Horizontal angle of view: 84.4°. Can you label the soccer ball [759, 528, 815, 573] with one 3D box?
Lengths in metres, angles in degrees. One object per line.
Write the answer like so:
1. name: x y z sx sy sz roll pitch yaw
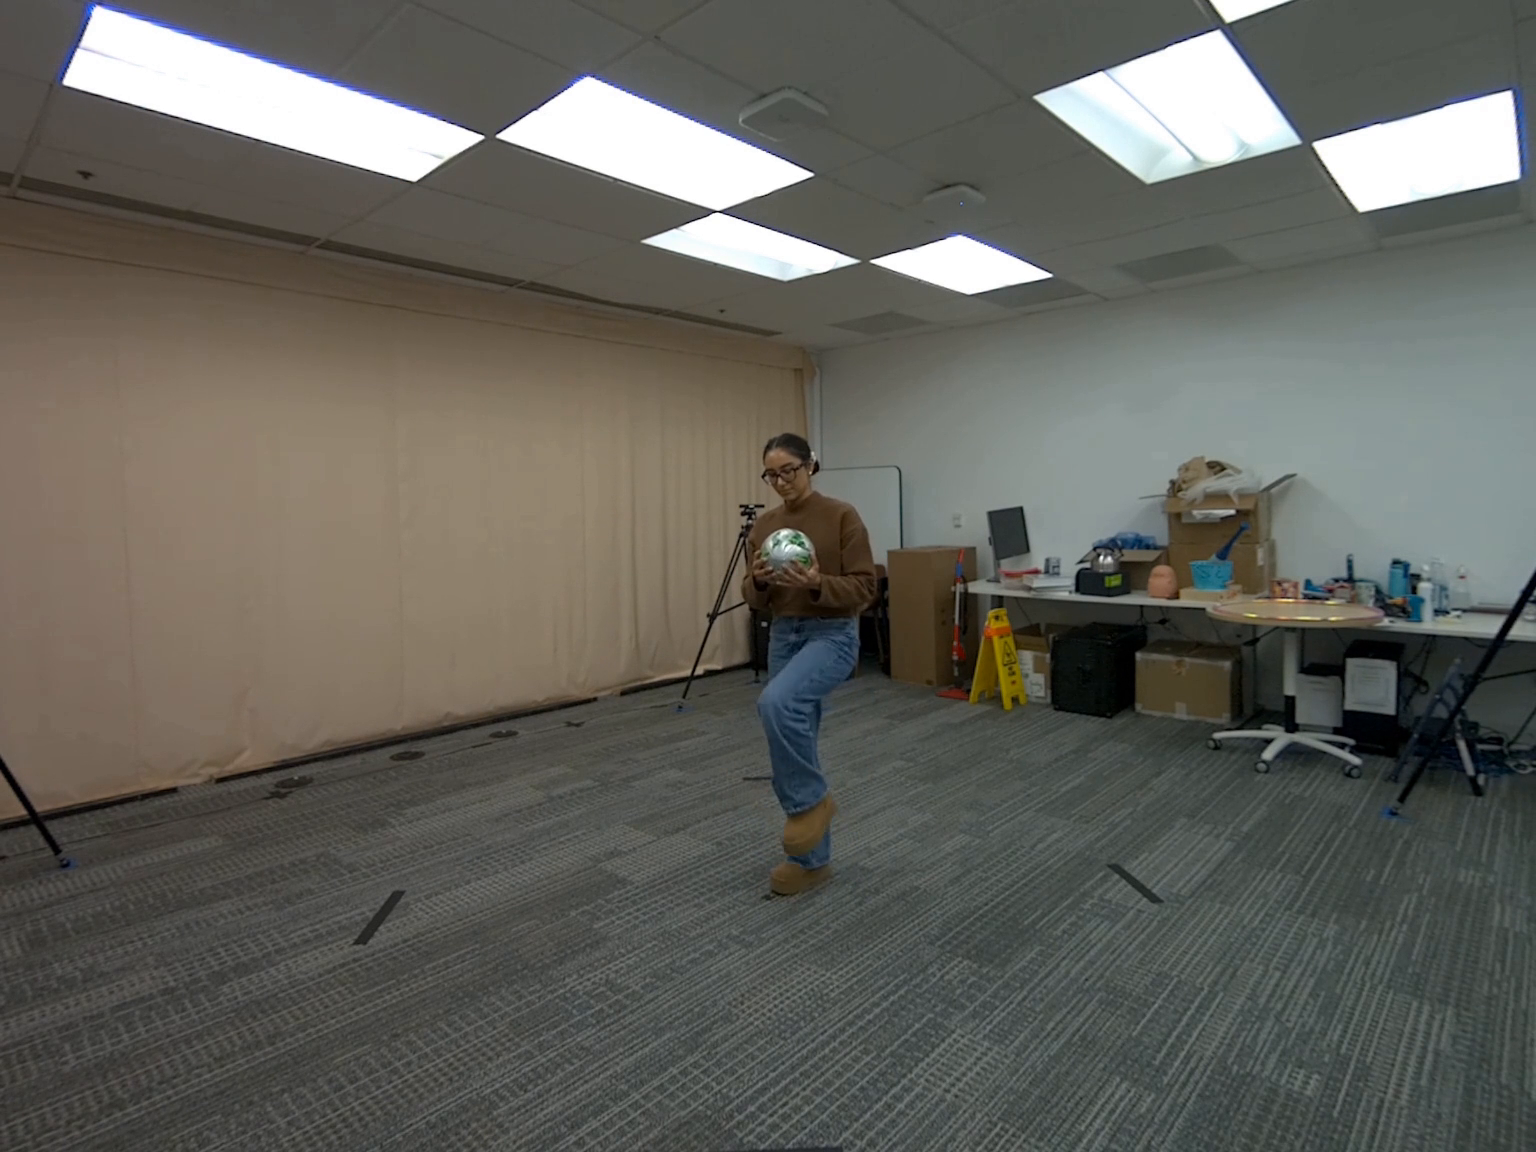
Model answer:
1. soccer ball: 0.062 -0.063 2.827 0.187 0.187 0.188 -1 4 -2
